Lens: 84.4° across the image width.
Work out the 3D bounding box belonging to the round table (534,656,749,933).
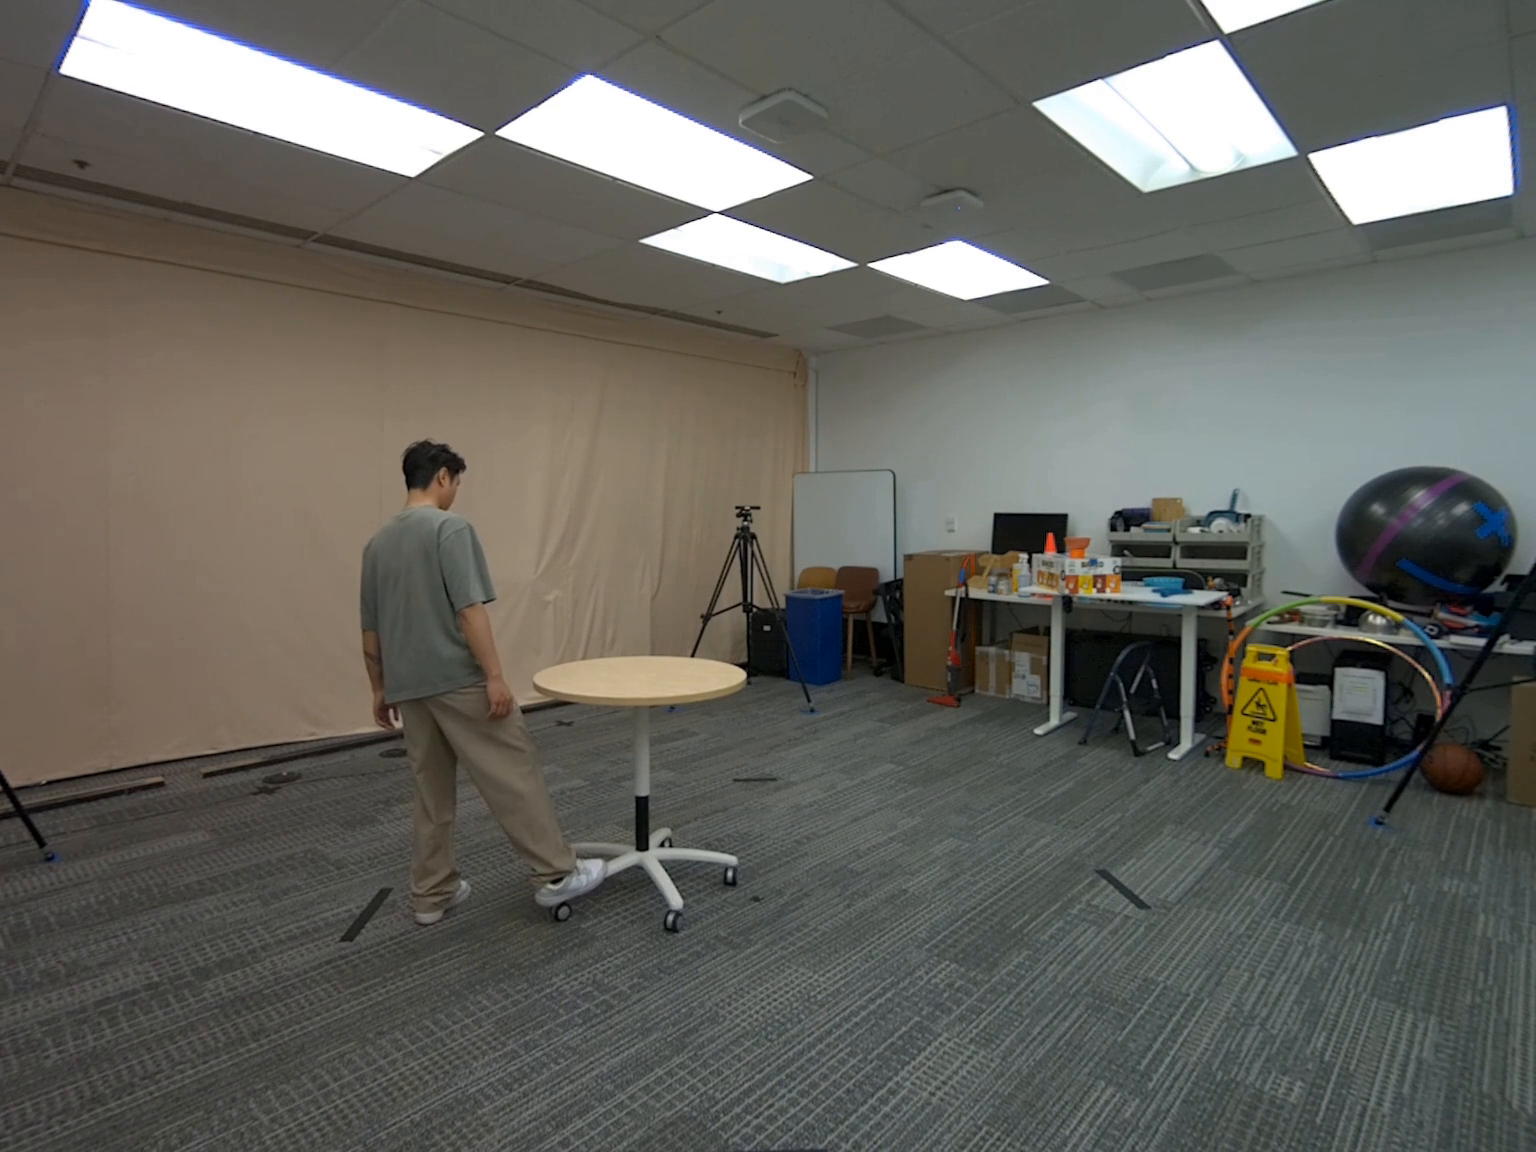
[{"bbox_3d":[-0.448,0.747,3.072,0.784,0.785,0.788,0,3,-2],"label":"round table"}]
